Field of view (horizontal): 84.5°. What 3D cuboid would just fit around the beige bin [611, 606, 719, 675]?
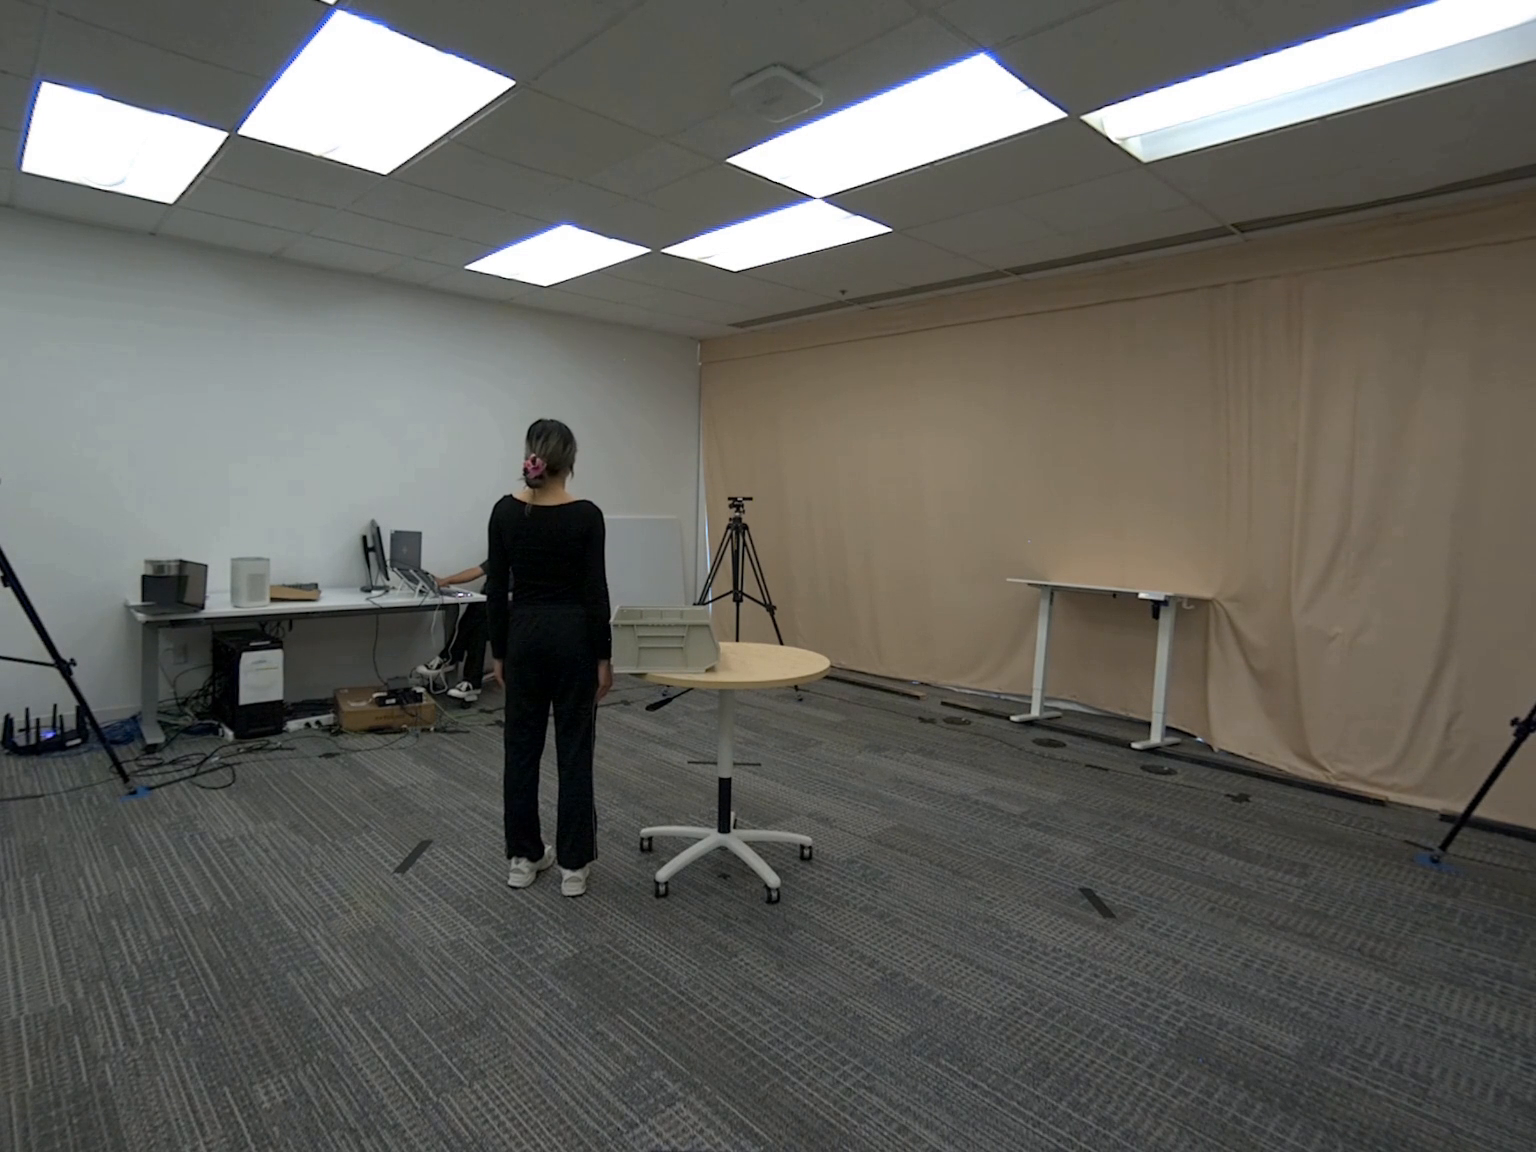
[{"bbox_3d":[-0.375,0.223,3.073,0.376,0.188,0.425,0,5,-5],"label":"beige bin"}]
